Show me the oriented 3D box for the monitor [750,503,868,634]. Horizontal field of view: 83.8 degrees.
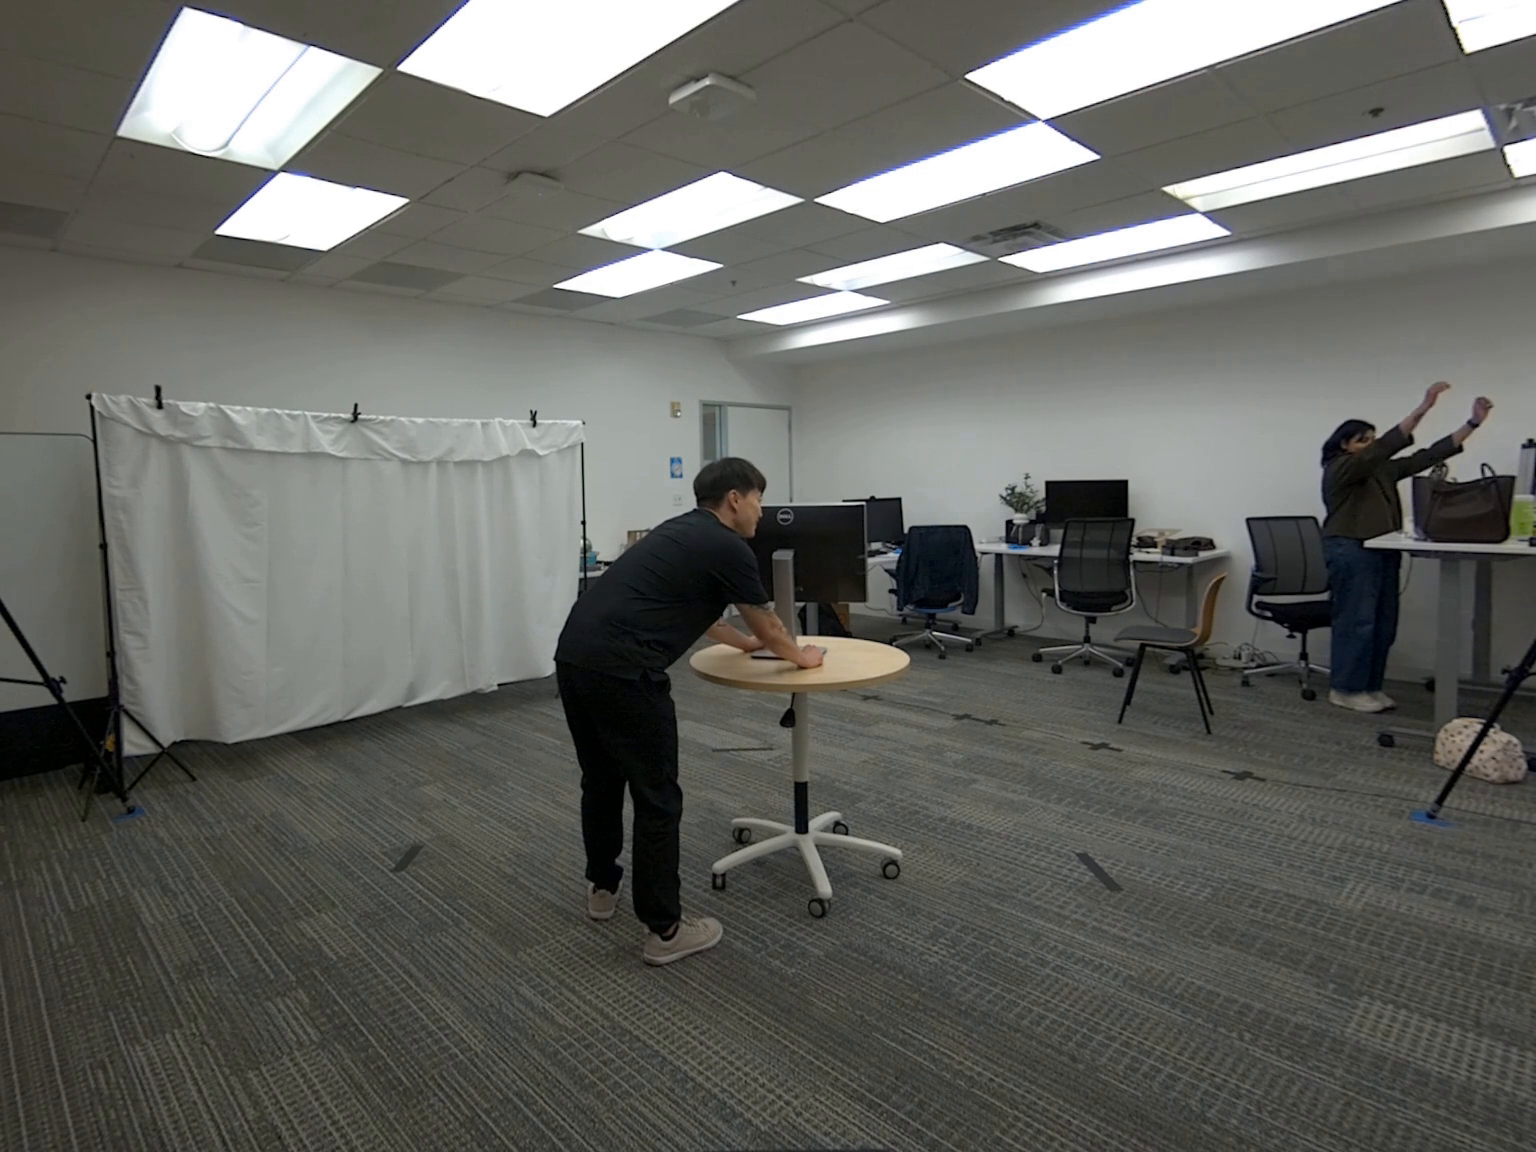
[{"bbox_3d":[0.069,0.016,3.036,0.544,0.521,0.185,0,2,10],"label":"monitor"}]
